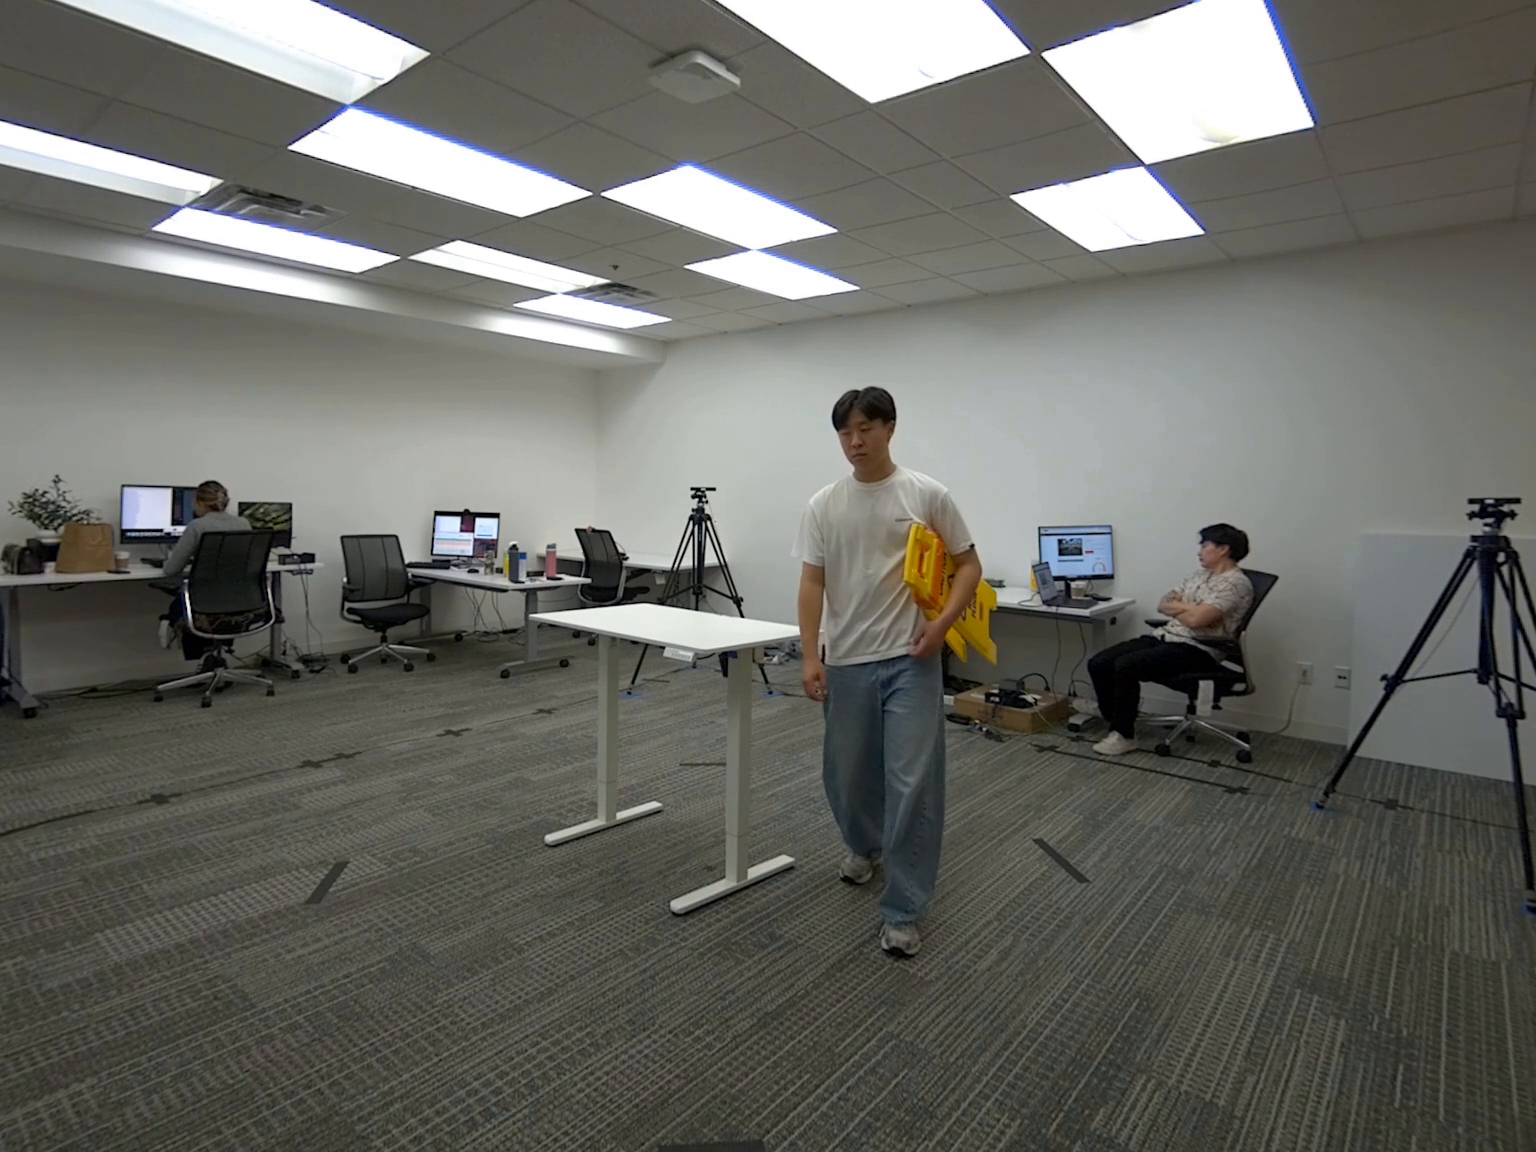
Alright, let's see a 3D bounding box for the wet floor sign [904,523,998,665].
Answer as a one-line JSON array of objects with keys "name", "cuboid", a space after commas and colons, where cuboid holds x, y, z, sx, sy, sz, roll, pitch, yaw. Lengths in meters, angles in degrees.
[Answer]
[{"name": "wet floor sign", "cuboid": [0.577, 0.053, 2.824, 0.298, 0.286, 0.619, 0, -25, 31]}]
